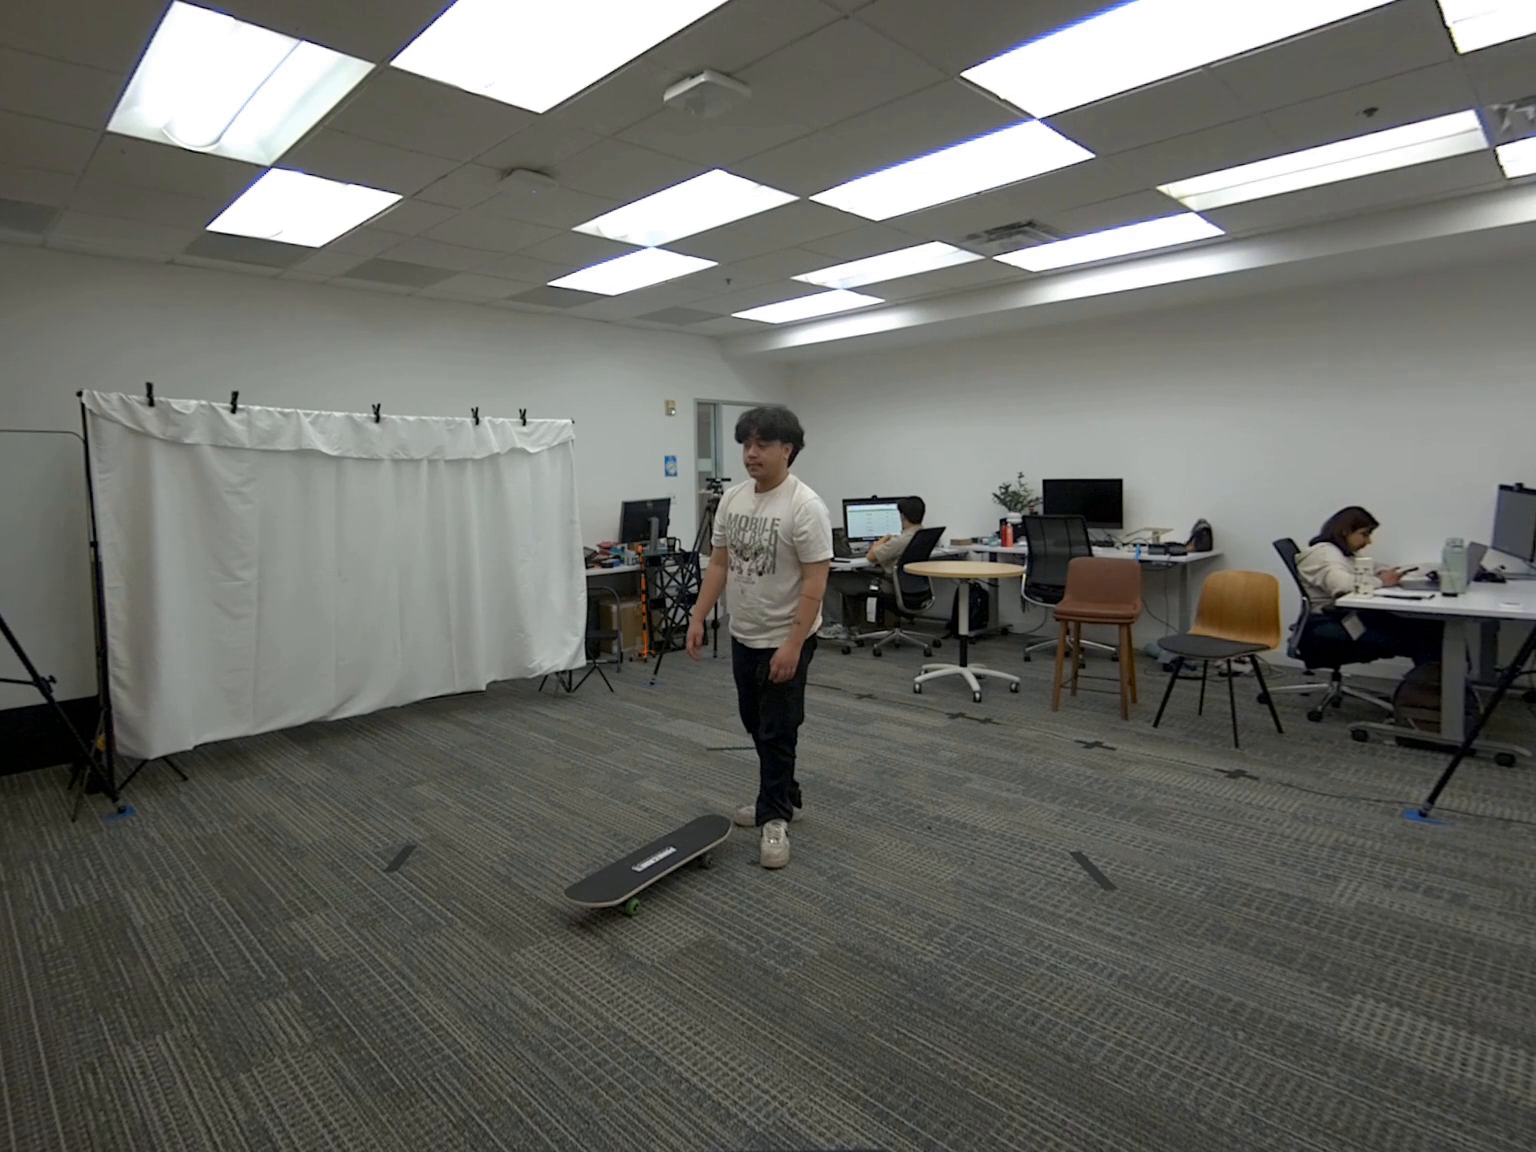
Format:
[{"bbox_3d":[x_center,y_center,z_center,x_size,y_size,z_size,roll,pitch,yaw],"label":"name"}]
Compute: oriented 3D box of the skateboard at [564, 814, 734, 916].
[{"bbox_3d":[-0.392,1.010,2.957,0.199,0.110,0.767,3,8,33],"label":"skateboard"}]
